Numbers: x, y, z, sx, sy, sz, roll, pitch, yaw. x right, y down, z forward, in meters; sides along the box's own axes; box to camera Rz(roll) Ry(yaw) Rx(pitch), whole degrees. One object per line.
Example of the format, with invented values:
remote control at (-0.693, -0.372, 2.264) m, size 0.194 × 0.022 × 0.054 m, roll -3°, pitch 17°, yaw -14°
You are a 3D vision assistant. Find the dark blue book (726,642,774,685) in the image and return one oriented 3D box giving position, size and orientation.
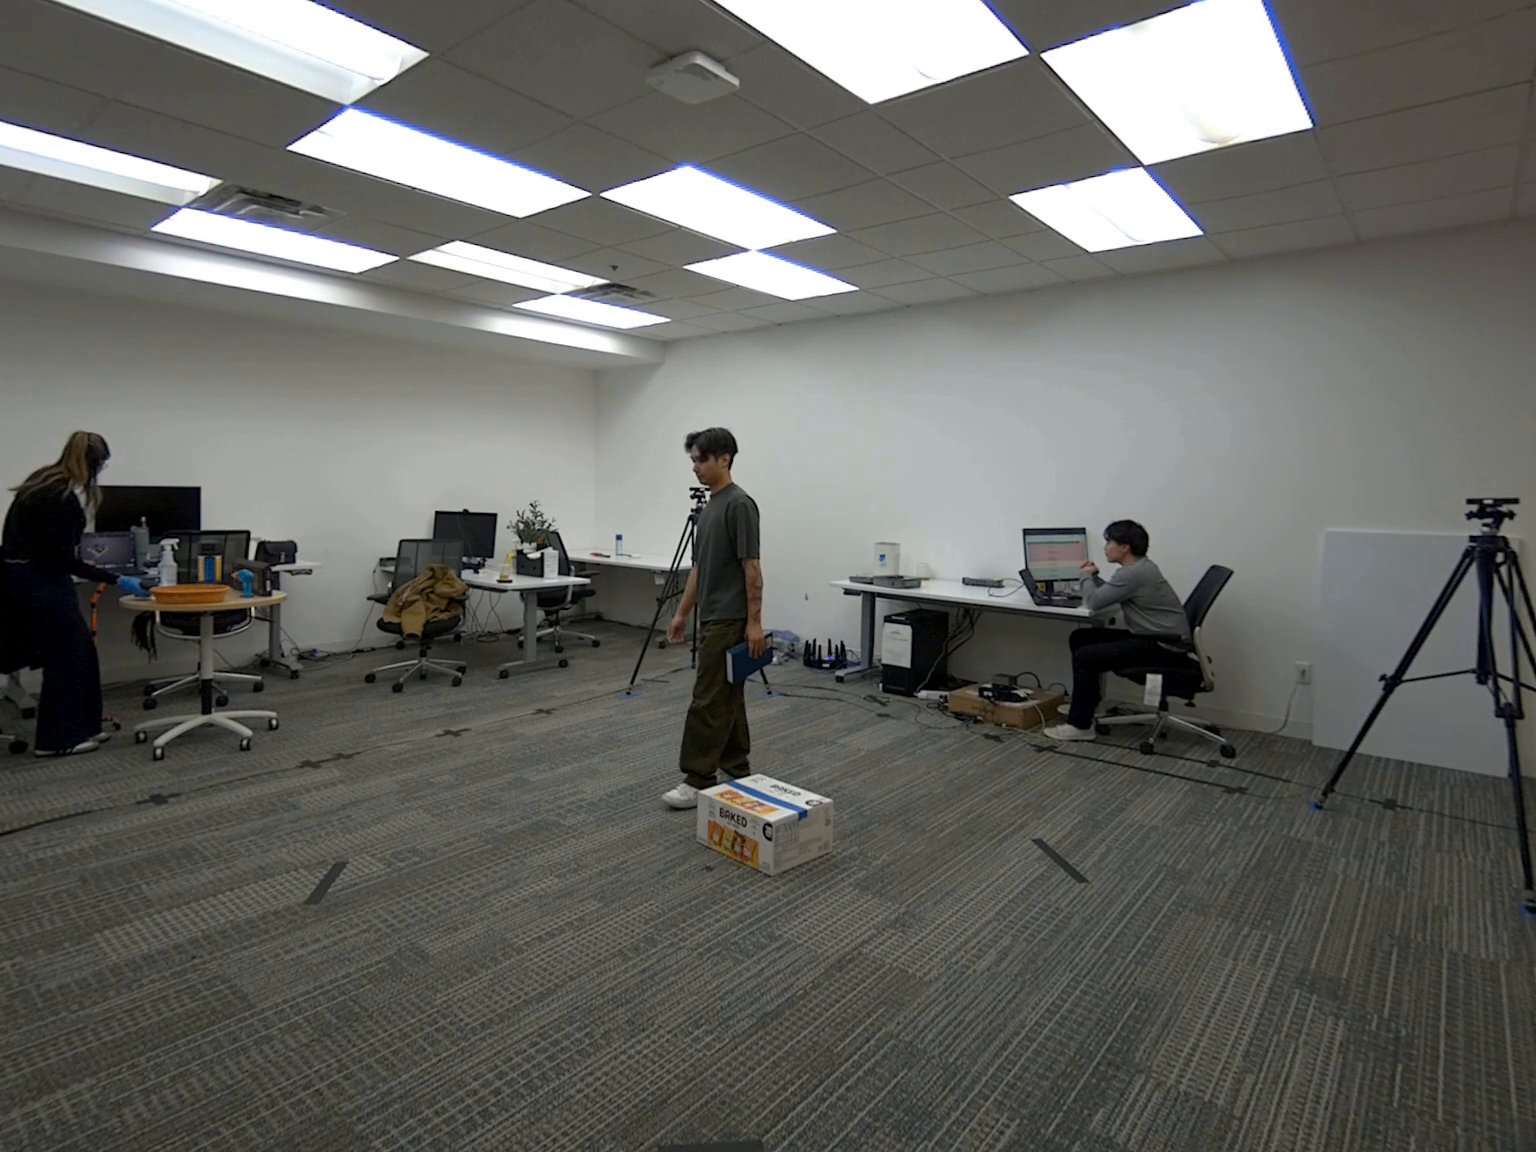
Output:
dark blue book at (-0.096, 0.355, 3.720) m, size 0.241 × 0.159 × 0.047 m, roll -24°, pitch 35°, yaw -36°
